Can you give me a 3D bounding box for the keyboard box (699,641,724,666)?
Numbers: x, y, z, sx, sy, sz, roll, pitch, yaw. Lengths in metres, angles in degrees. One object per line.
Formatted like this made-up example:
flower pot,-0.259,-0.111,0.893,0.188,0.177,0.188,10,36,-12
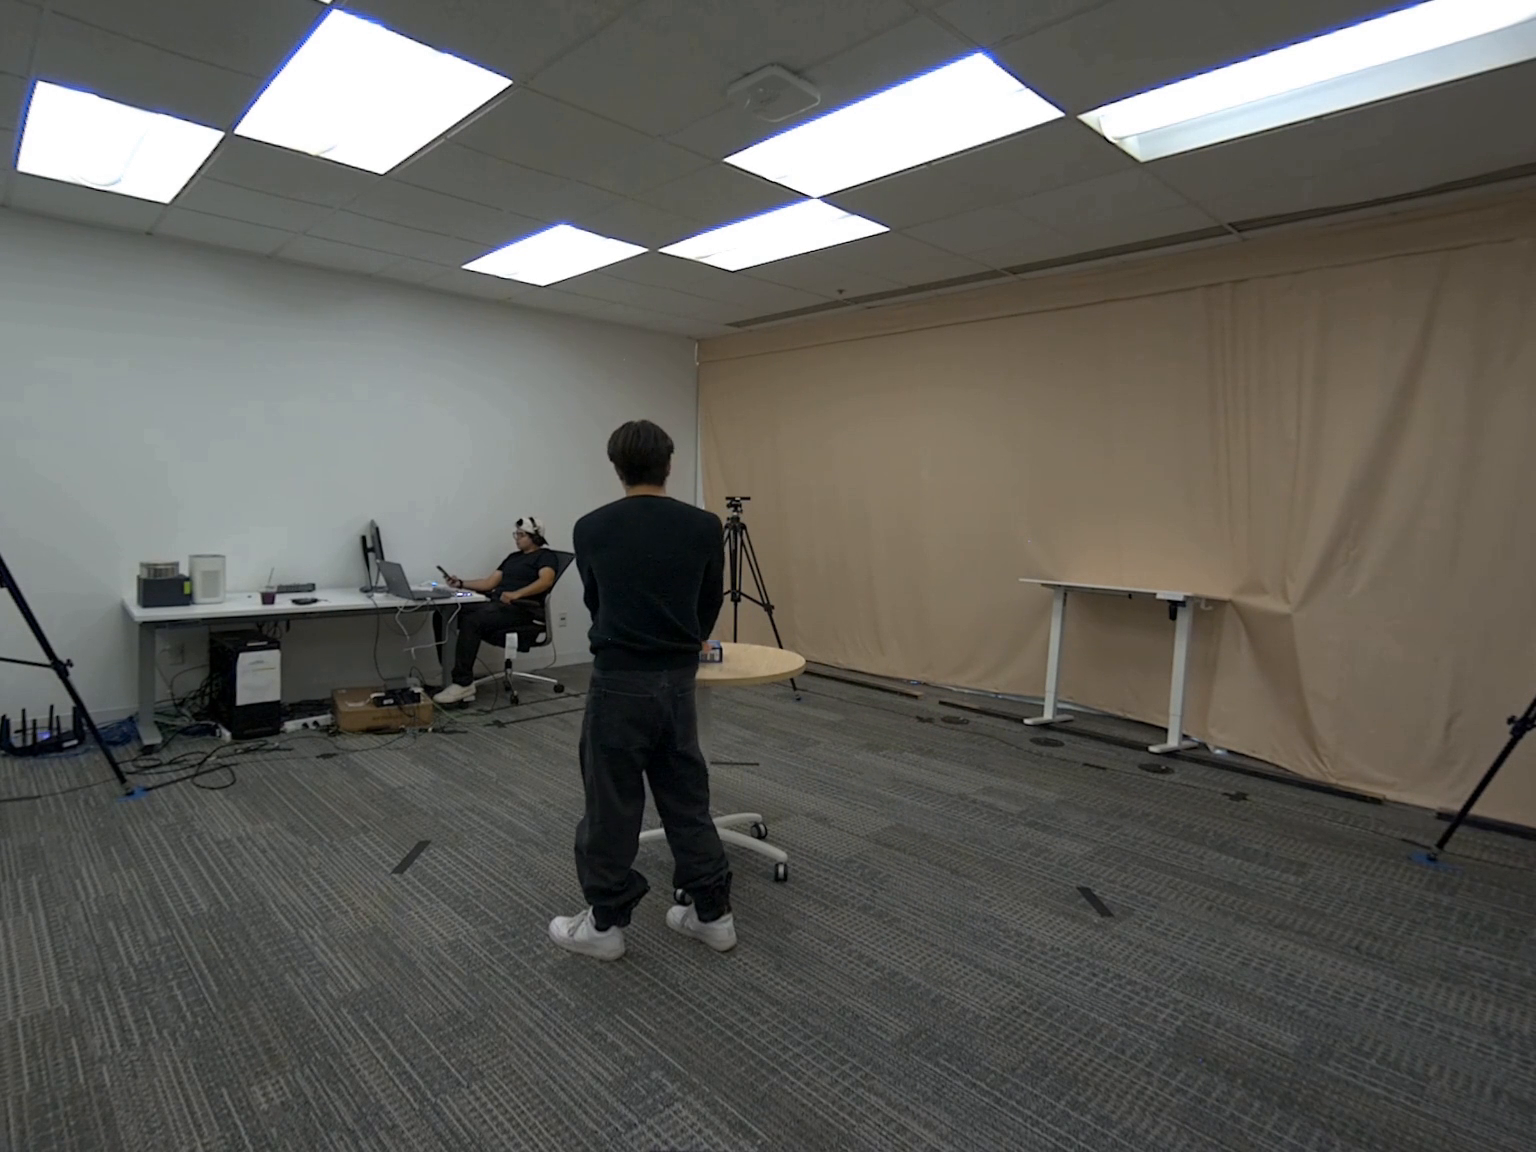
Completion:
keyboard box,-0.408,0.286,3.162,0.433,0.059,0.178,2,4,-9
